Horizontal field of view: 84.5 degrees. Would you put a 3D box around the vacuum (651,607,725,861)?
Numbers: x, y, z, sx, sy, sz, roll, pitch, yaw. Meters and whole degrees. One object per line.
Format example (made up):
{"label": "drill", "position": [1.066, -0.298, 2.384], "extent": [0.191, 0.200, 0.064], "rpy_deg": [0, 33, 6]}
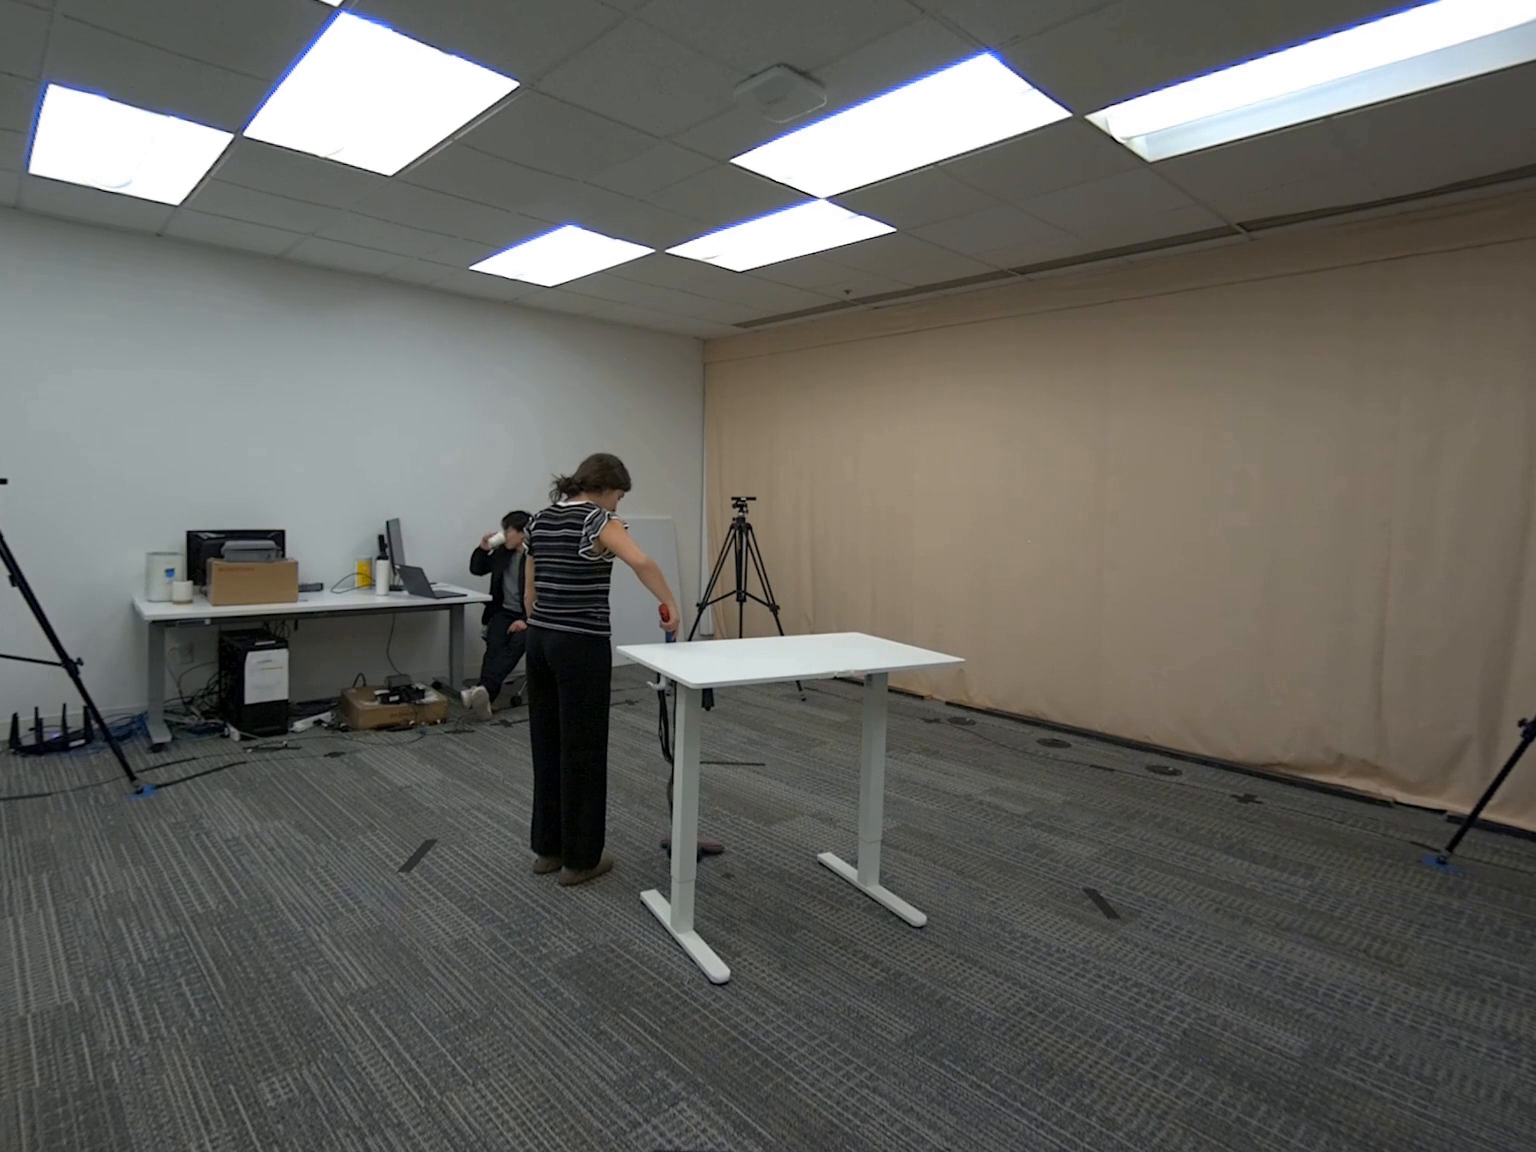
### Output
{"label": "vacuum", "position": [-0.352, 0.610, 3.138], "extent": [0.256, 1.035, 0.144], "rpy_deg": [1, 19, 16]}
